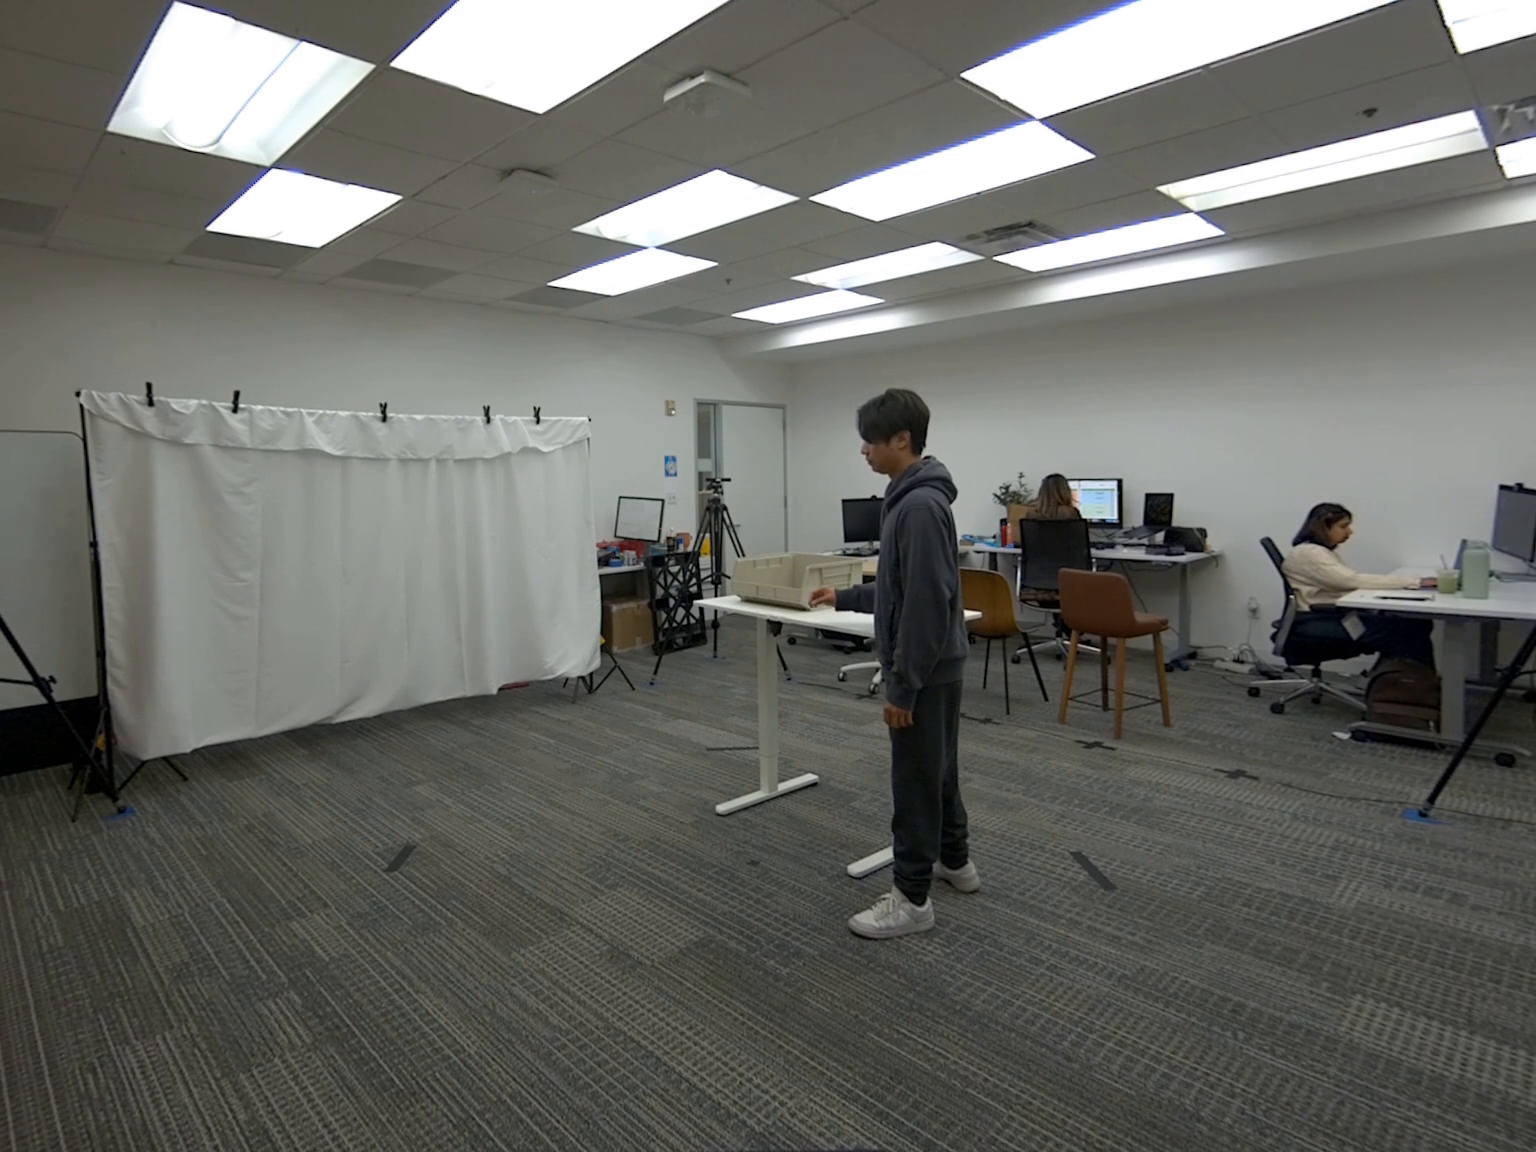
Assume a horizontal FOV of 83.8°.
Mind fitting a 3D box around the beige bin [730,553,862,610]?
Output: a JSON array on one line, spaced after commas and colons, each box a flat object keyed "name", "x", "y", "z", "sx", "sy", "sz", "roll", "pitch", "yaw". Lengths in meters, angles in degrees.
[{"name": "beige bin", "x": 0.123, "y": 0.021, "z": 3.505, "sx": 0.367, "sy": 0.188, "sz": 0.435, "roll": -6, "pitch": 8, "yaw": -42}]
